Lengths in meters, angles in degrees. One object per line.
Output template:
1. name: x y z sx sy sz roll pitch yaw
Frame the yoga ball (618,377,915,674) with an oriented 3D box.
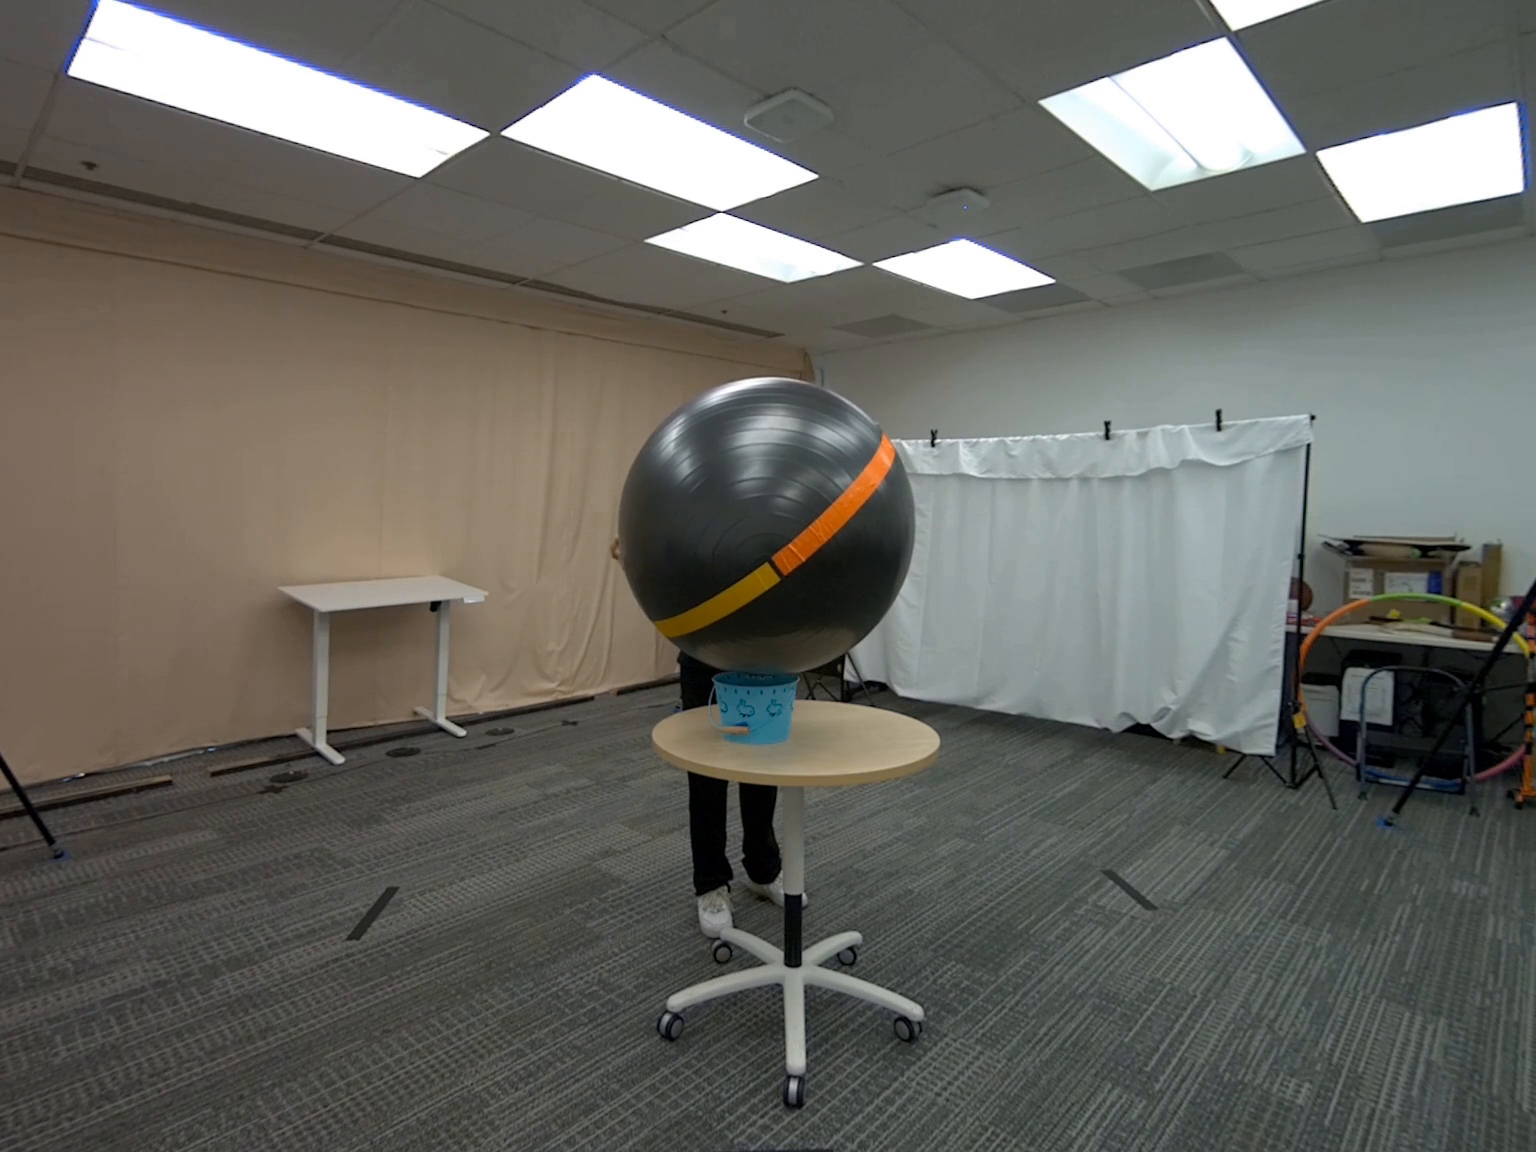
1. yoga ball: -0.004 -0.121 2.162 0.757 0.756 0.760 0 4 -2
